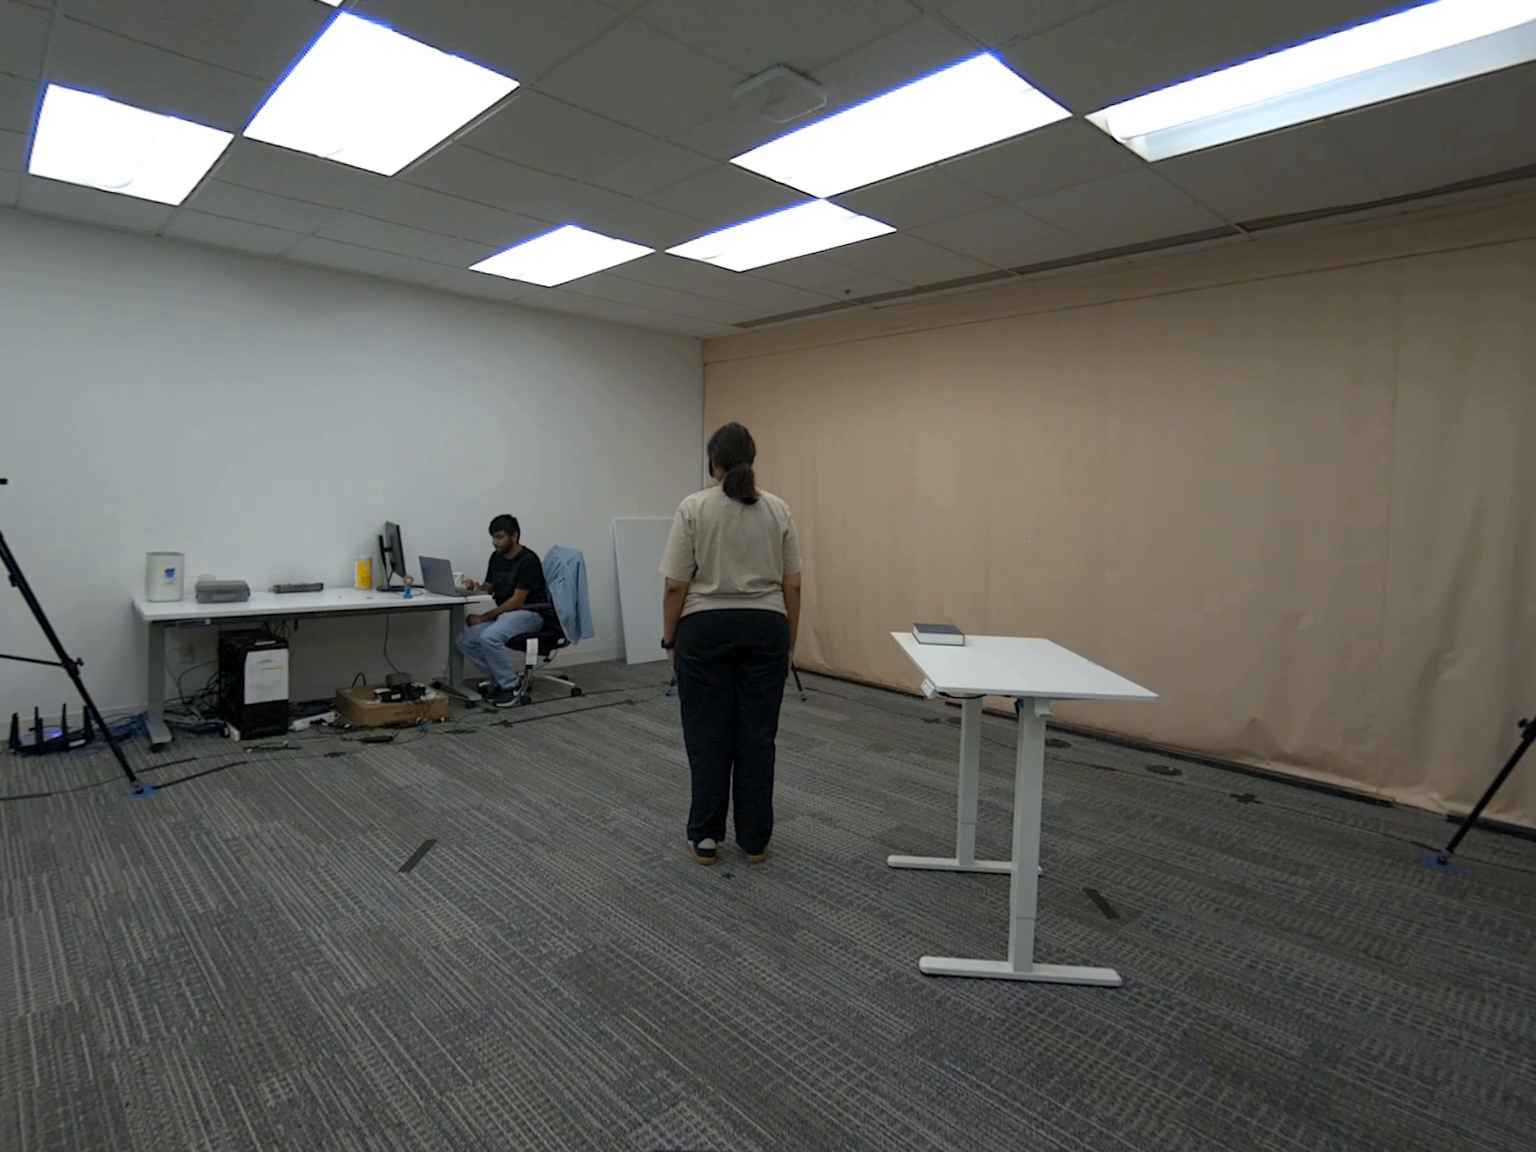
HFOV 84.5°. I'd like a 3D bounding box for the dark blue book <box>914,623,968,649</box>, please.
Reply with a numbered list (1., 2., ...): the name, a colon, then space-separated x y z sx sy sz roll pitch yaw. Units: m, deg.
1. dark blue book: 0.639 0.220 3.153 0.164 0.045 0.244 5 5 6
